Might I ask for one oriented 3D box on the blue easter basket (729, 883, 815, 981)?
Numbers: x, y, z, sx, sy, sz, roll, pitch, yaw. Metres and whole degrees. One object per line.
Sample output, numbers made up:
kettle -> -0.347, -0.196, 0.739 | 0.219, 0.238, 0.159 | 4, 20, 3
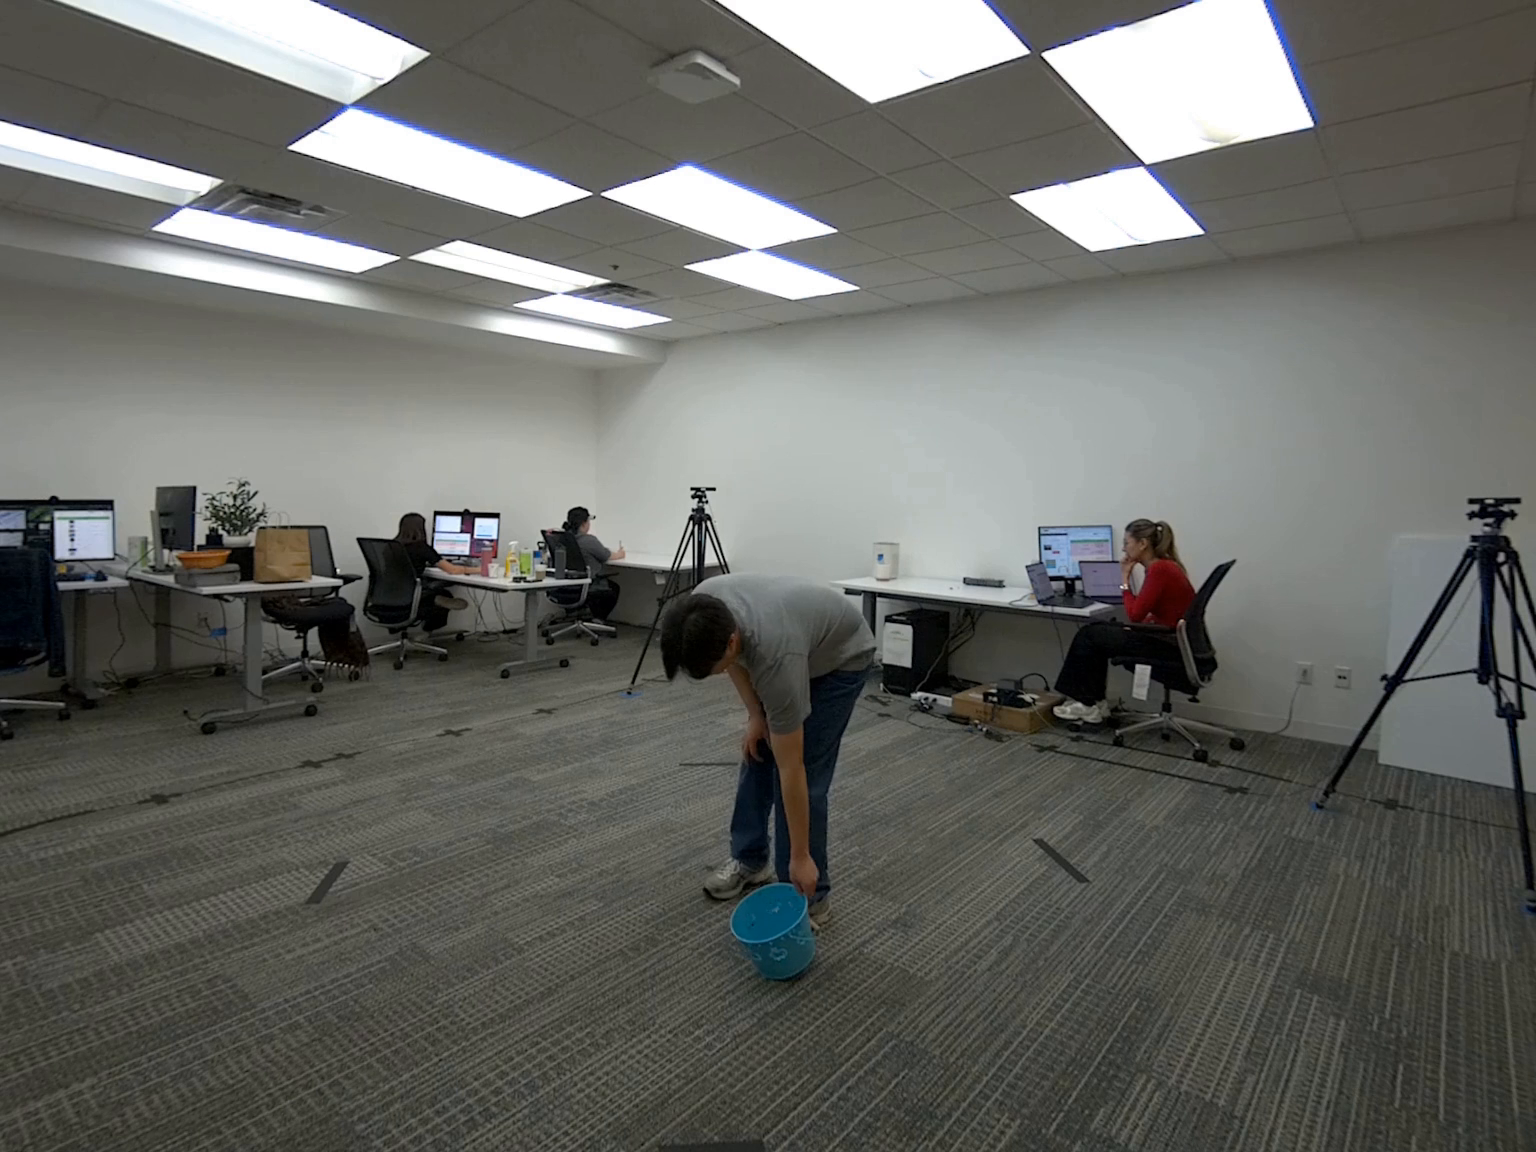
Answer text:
blue easter basket -> 0.022, 1.032, 2.462 | 0.244, 0.153, 0.247 | -20, 15, 3
